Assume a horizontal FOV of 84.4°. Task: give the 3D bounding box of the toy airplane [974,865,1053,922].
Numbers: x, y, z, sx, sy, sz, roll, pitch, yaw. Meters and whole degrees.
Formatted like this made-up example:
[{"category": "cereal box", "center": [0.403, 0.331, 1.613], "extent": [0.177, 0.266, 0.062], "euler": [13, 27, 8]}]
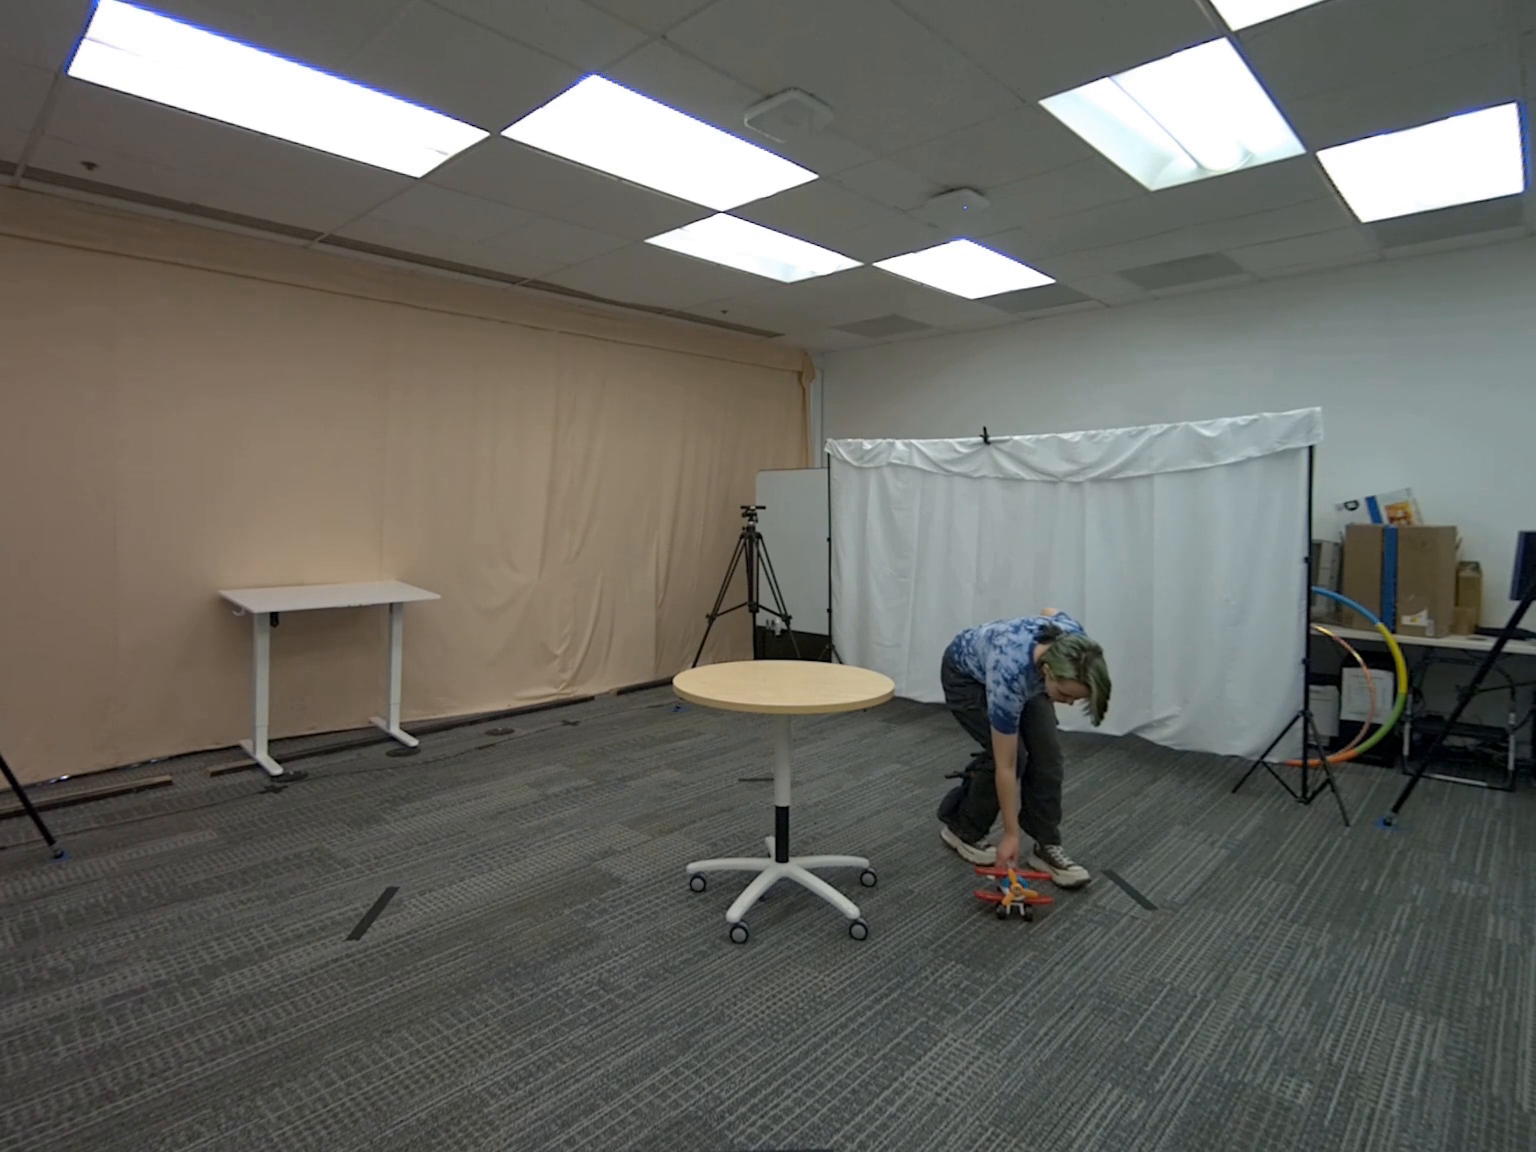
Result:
[{"category": "toy airplane", "center": [0.829, 1.074, 2.909], "extent": [0.246, 0.156, 0.265], "euler": [-2, 7, -21]}]
